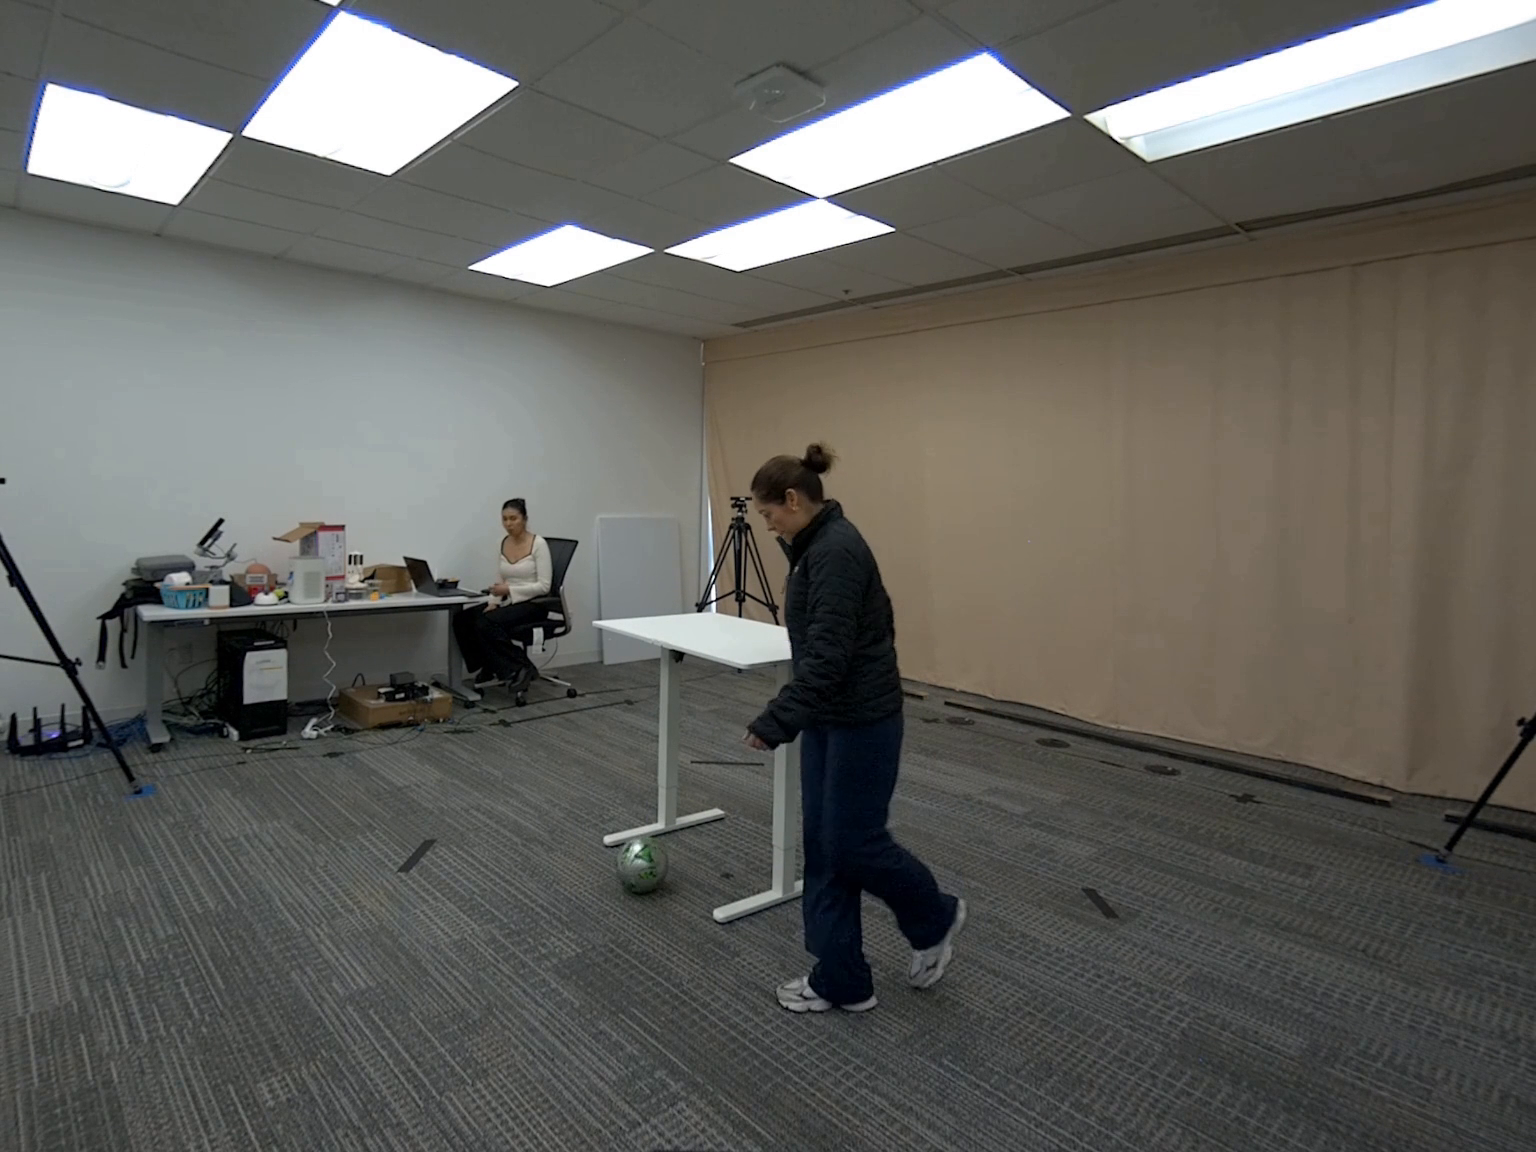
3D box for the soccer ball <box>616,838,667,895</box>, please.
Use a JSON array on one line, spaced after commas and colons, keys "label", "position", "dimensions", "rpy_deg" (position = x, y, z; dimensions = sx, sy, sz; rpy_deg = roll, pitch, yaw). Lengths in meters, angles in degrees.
[{"label": "soccer ball", "position": [-0.453, 1.013, 2.972], "dimensions": [0.187, 0.187, 0.188], "rpy_deg": [1, 4, -1]}]
